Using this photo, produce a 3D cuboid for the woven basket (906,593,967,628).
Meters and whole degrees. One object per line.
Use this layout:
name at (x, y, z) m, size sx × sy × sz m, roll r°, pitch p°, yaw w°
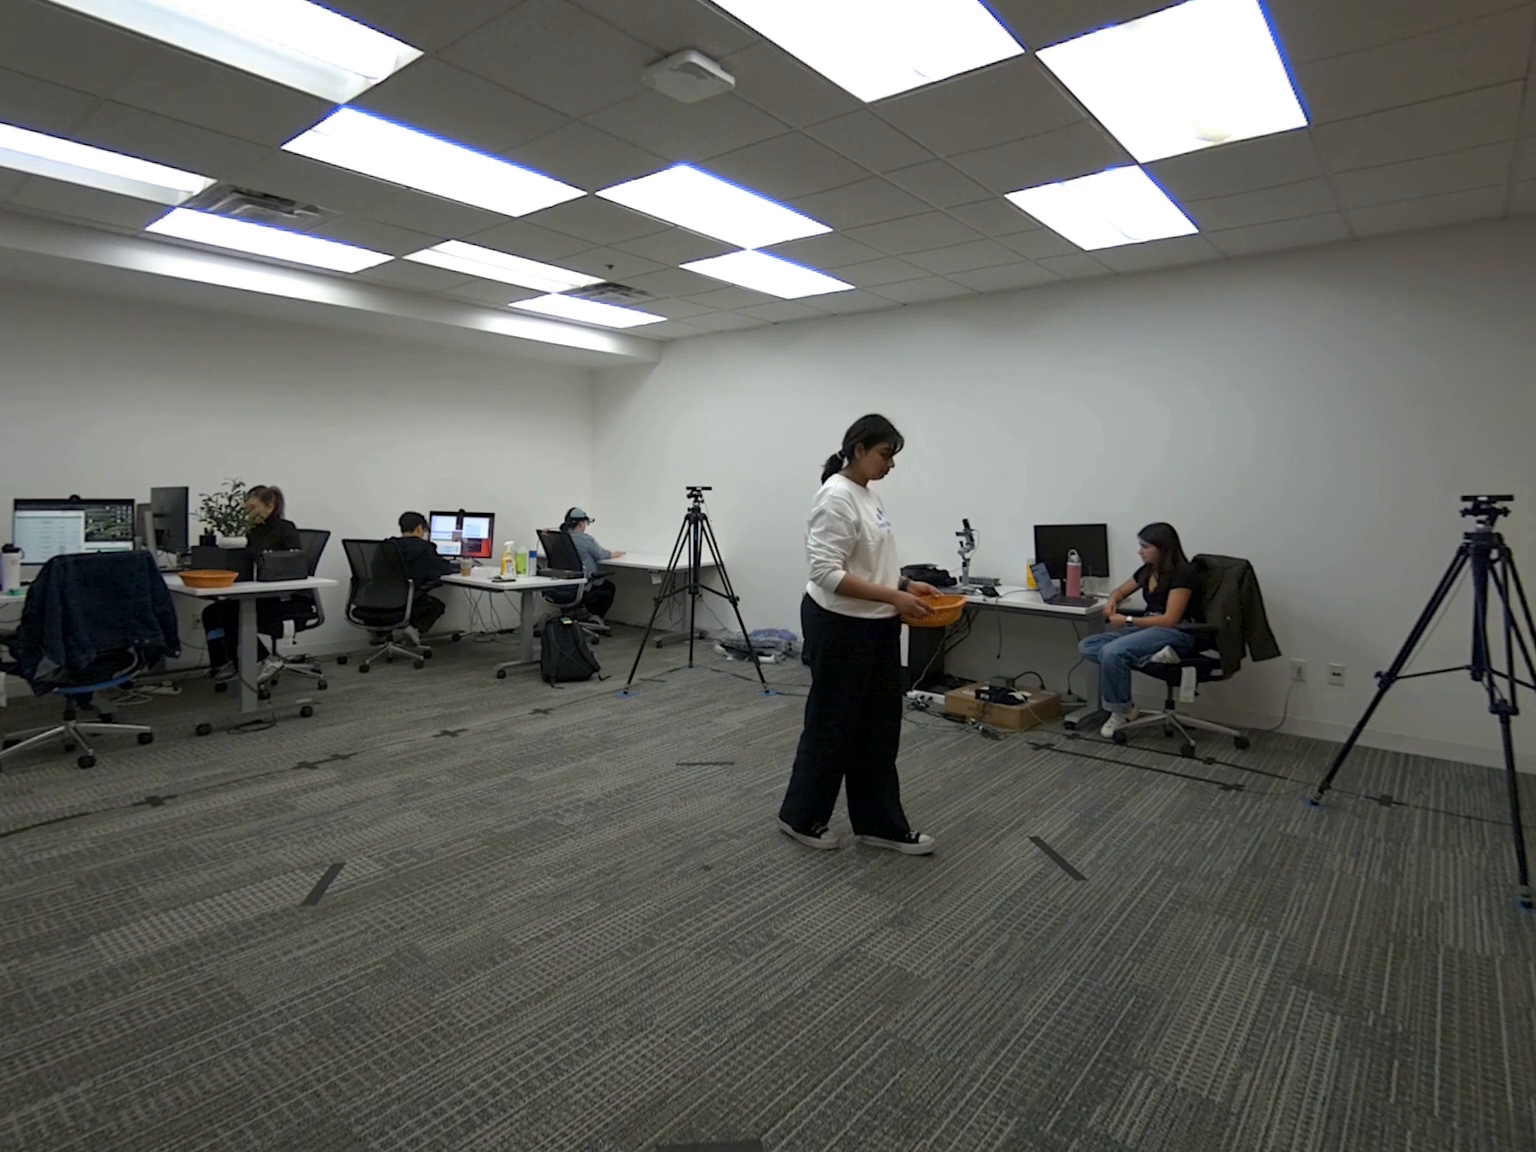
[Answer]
woven basket at (0.612, 0.134, 3.209) m, size 0.260 × 0.073 × 0.342 m, roll 1°, pitch 7°, yaw 32°
